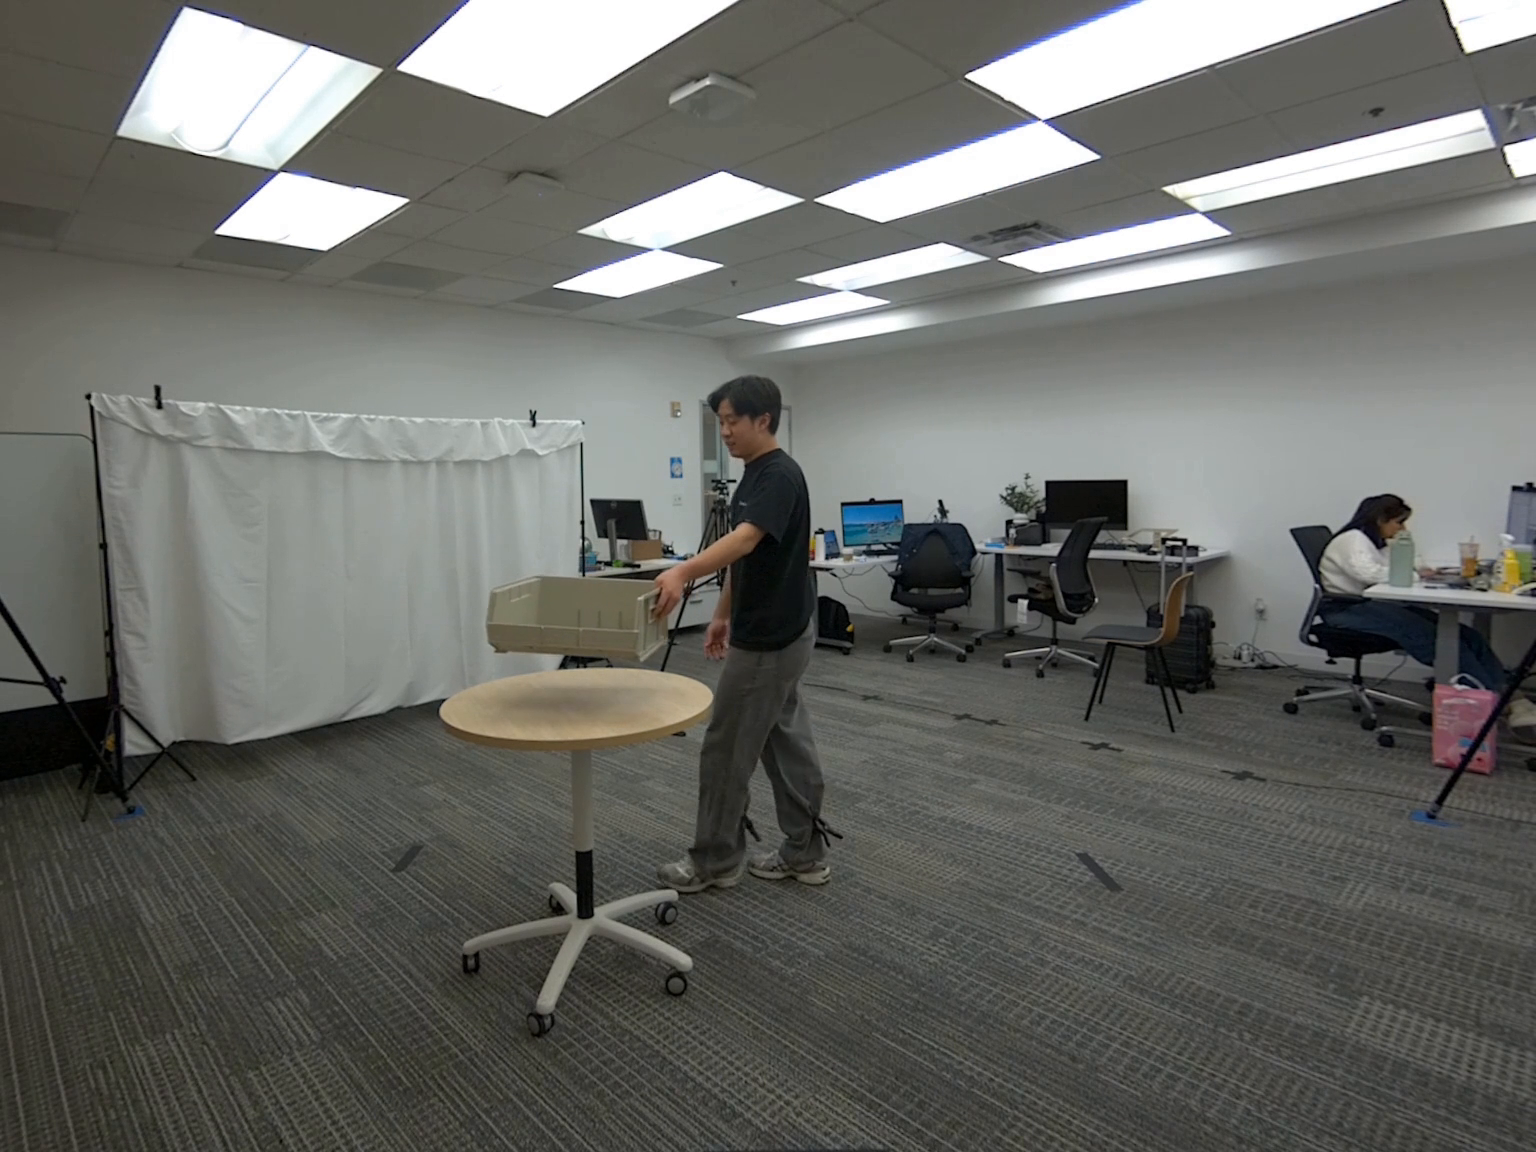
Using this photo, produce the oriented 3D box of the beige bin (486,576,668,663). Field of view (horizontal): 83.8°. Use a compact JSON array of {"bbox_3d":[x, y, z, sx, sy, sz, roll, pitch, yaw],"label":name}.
[{"bbox_3d":[-0.525,0.116,2.397,0.425,0.188,0.376,1,5,5],"label":"beige bin"}]
